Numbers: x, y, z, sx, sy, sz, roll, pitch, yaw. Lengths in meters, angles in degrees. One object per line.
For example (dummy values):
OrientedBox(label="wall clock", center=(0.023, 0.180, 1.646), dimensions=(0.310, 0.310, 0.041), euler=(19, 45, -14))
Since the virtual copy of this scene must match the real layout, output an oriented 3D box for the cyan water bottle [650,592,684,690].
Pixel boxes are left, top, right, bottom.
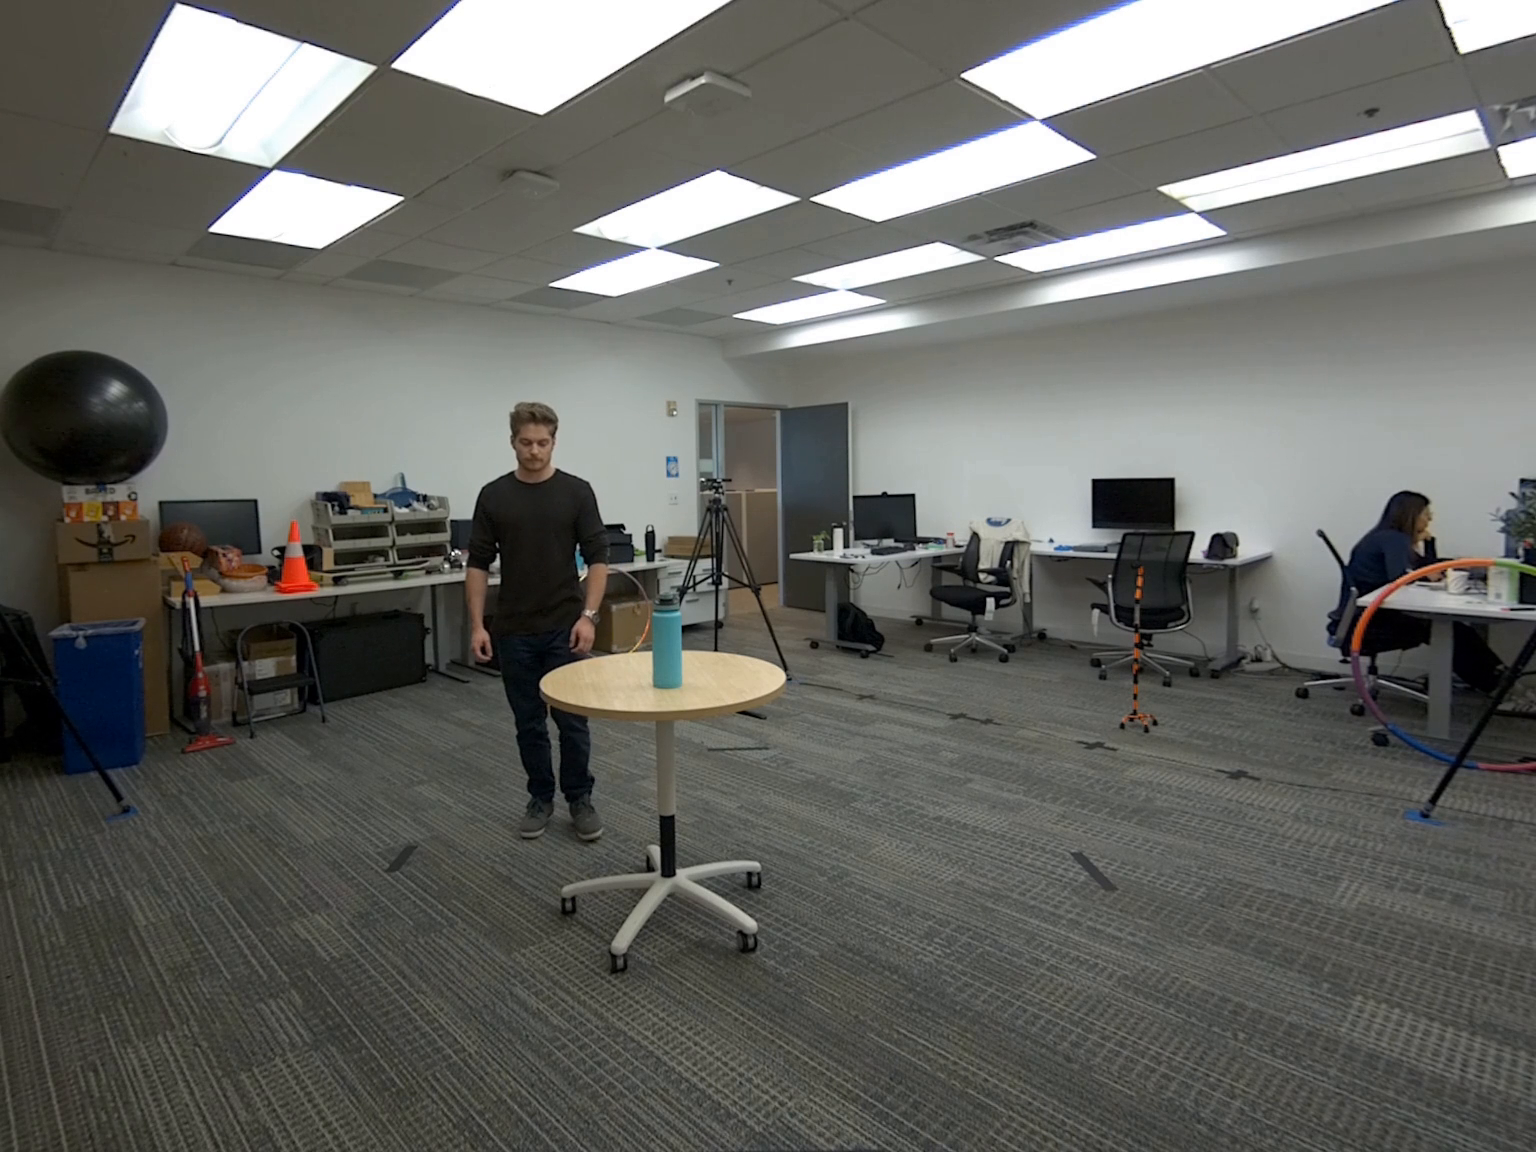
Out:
OrientedBox(label="cyan water bottle", center=(-0.303, 0.191, 2.561), dimensions=(0.092, 0.283, 0.092), euler=(-2, 3, -2))
